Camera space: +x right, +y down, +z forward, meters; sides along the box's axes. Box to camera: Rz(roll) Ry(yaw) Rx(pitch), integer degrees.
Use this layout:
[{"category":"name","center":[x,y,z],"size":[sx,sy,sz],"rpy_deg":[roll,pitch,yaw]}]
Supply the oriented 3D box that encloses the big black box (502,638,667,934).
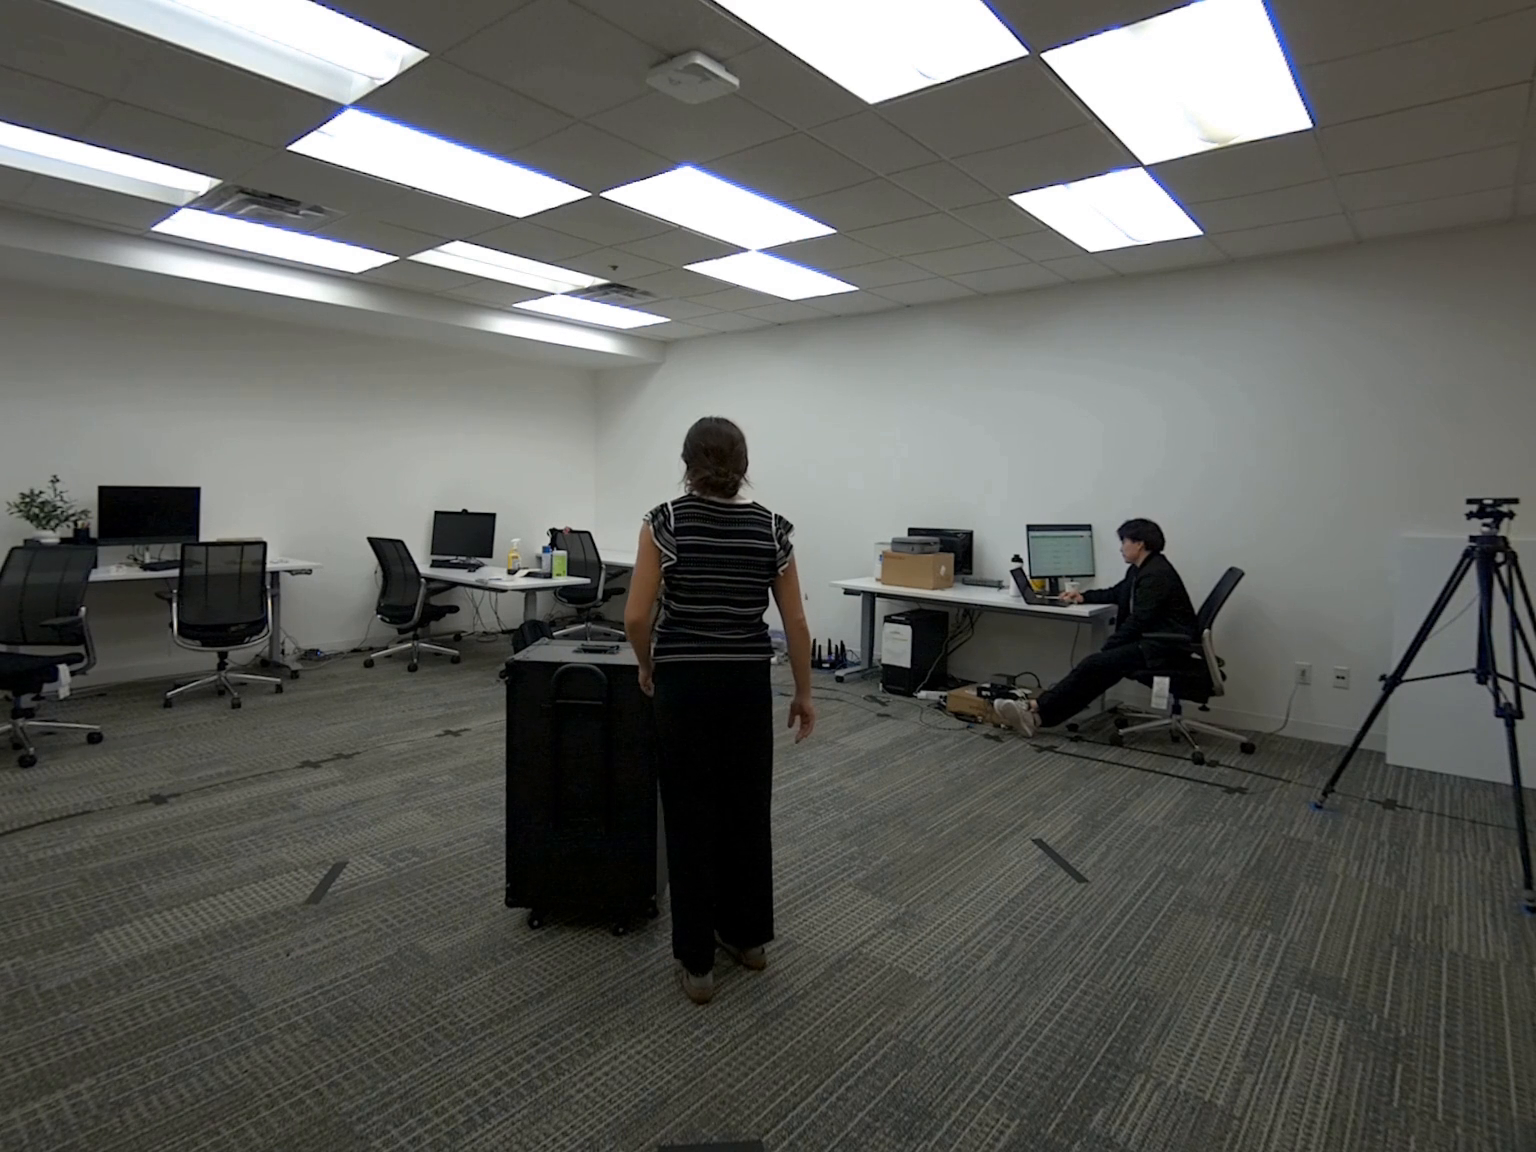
[{"category":"big black box","center":[-0.577,0.667,2.773],"size":[0.525,0.858,0.395],"rpy_deg":[2,4,6]}]
